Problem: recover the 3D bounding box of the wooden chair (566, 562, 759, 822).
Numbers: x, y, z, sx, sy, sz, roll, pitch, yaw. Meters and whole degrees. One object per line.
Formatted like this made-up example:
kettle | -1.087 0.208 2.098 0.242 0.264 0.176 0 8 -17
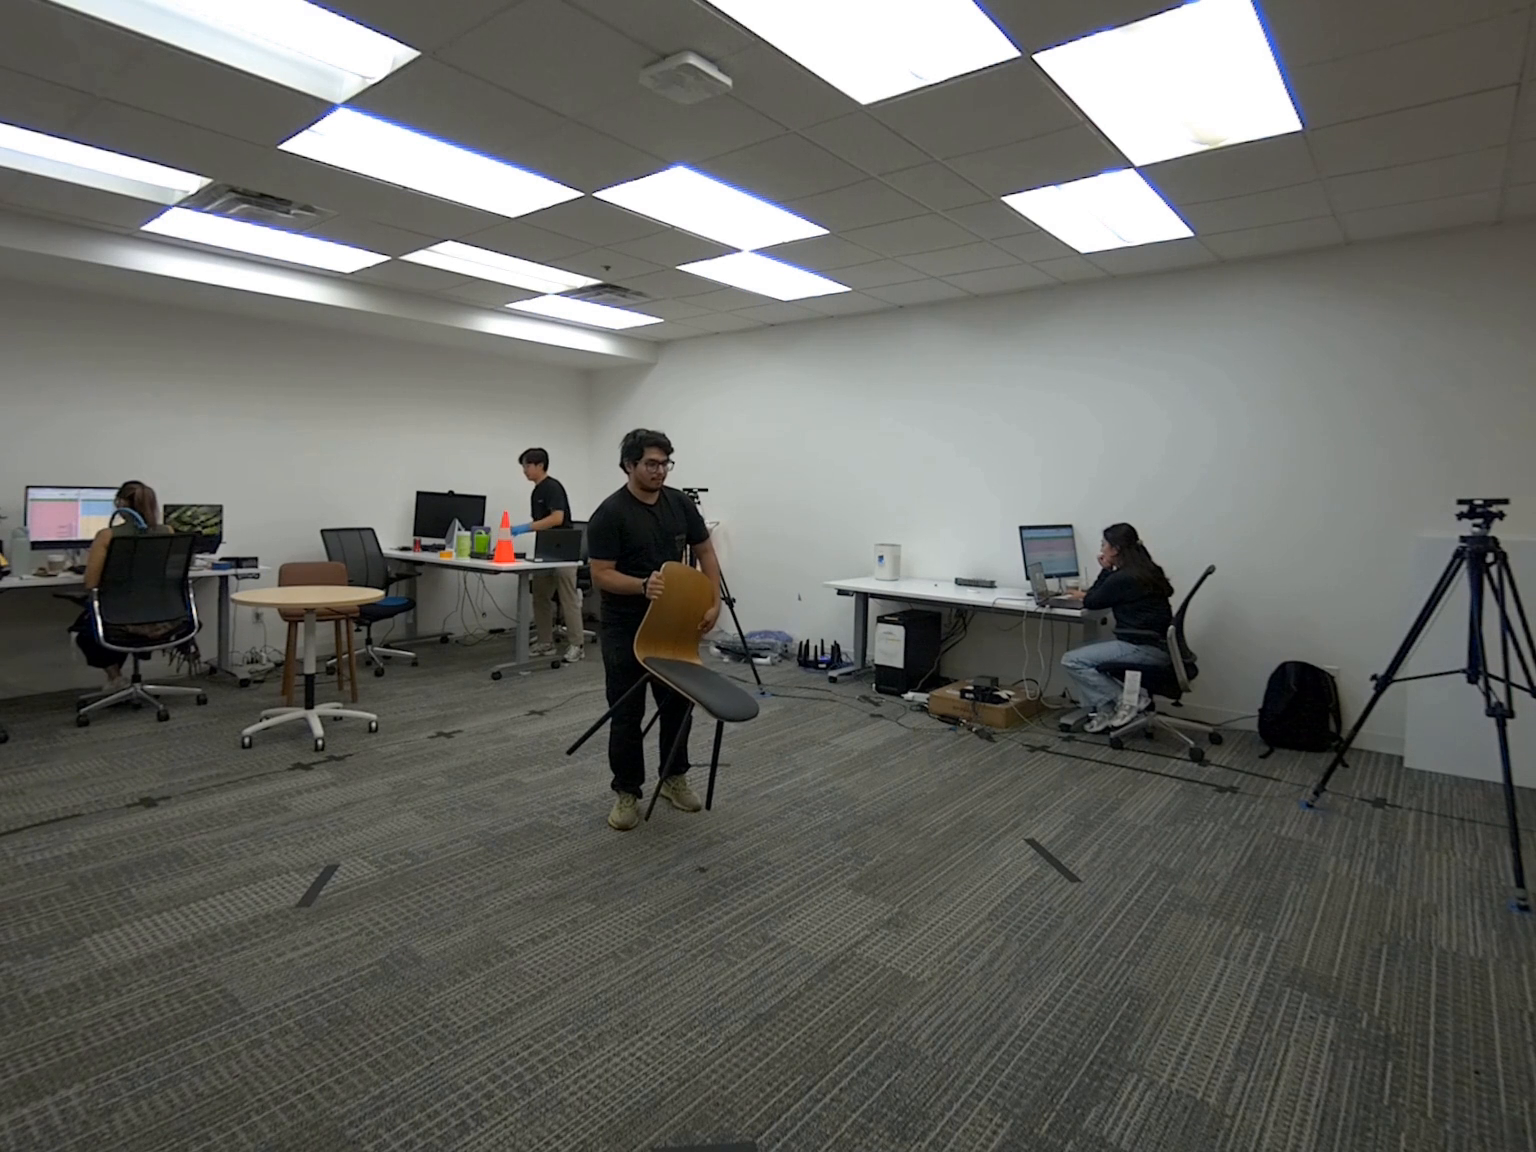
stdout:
wooden chair | -0.319 0.444 3.340 0.542 0.876 0.461 23 2 30
